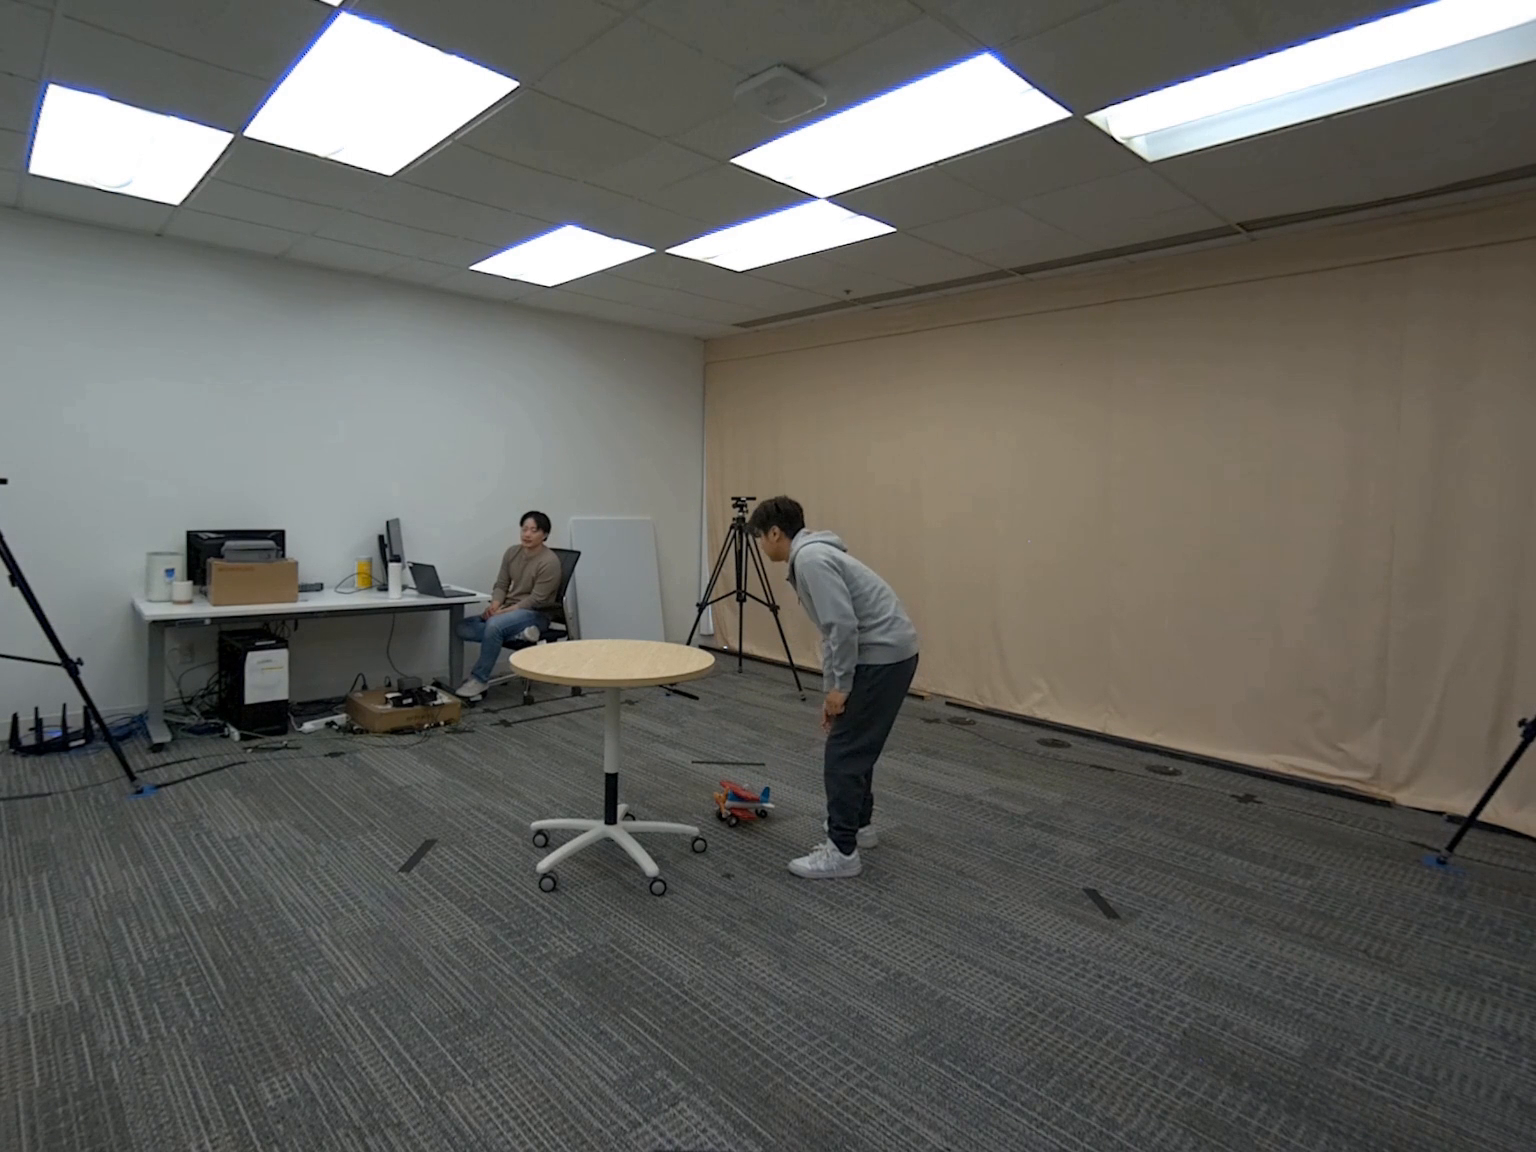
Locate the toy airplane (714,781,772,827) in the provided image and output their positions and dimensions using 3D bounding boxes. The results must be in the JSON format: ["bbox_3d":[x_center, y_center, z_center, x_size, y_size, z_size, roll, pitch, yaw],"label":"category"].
[{"bbox_3d":[-0.121,0.983,3.667,0.256,0.156,0.254,3,6,29],"label":"toy airplane"}]
